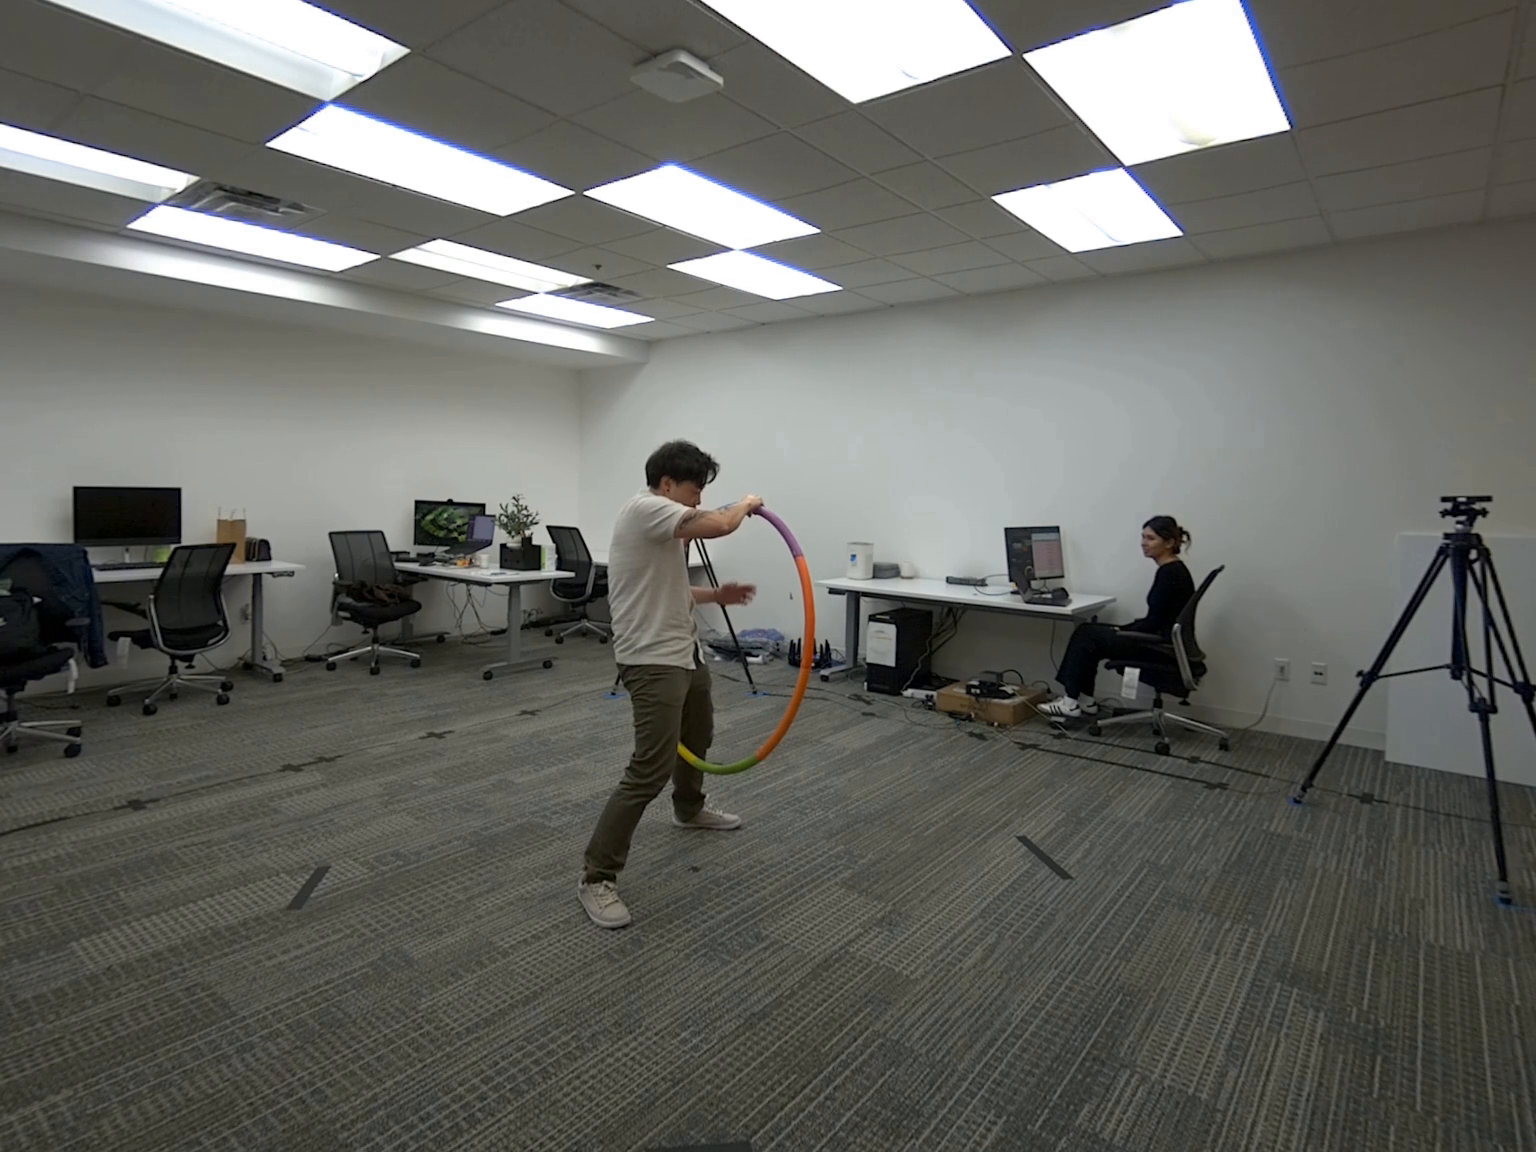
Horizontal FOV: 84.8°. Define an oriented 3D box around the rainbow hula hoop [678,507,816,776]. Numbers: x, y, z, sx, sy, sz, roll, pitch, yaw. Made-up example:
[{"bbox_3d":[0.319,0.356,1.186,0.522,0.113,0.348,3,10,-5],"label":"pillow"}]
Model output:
[{"bbox_3d":[-0.175,0.211,3.128,0.034,0.981,1.011,12,-4,-38],"label":"rainbow hula hoop"}]
